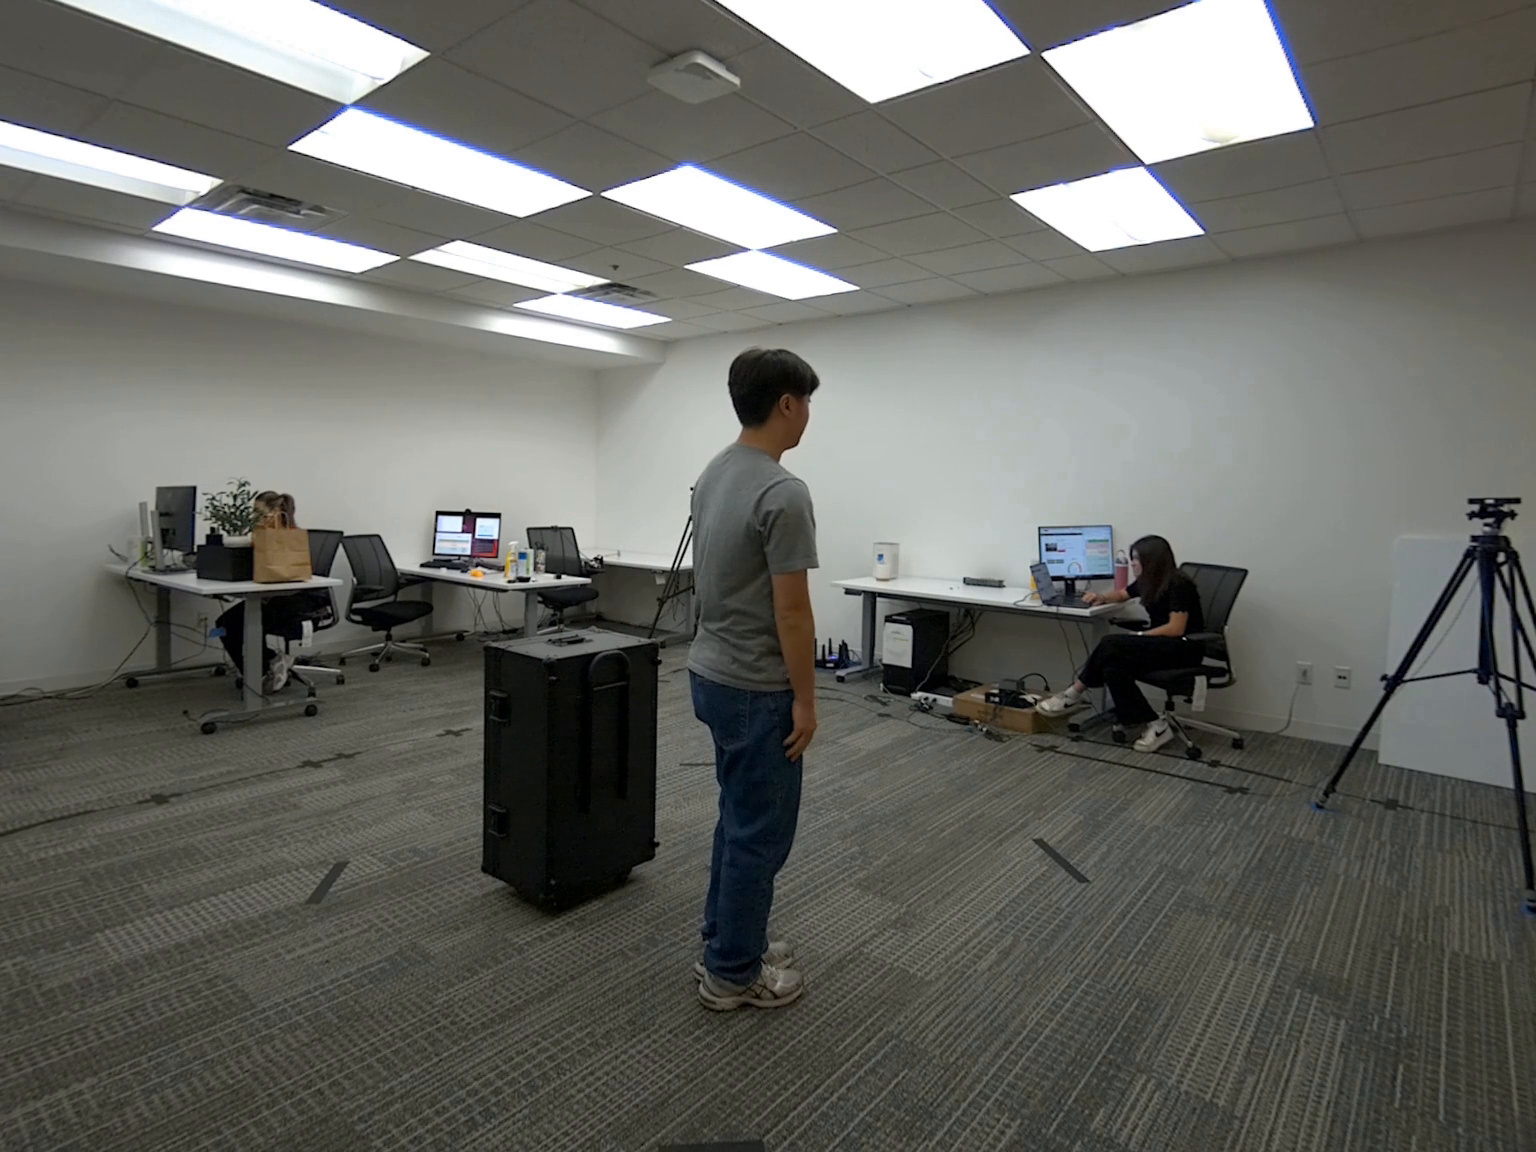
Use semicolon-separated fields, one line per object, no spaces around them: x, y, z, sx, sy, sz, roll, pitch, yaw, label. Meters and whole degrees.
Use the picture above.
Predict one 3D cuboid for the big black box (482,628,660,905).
-0.679;0.650;2.932;0.410;0.858;0.506;5;5;39;big black box
